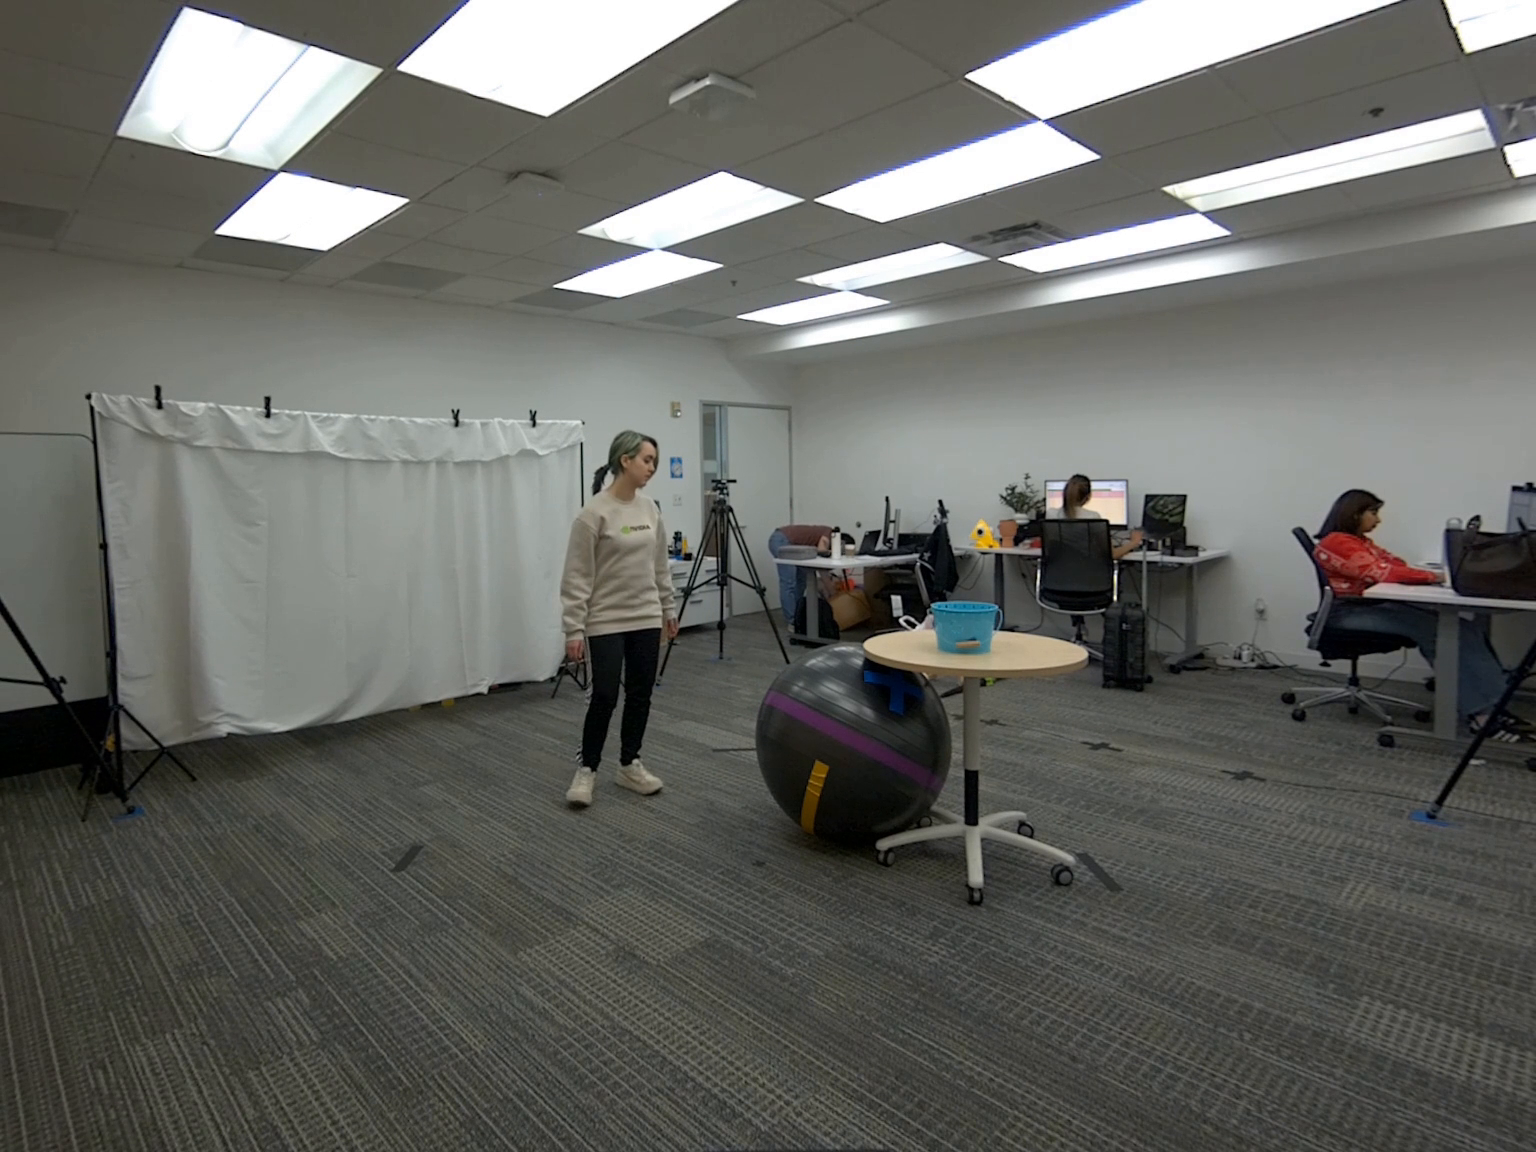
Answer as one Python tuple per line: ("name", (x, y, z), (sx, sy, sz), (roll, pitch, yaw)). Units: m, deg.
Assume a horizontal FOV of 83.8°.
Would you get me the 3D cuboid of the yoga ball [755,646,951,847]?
("yoga ball", (0.335, 0.648, 3.344), (0.757, 0.755, 0.762), (-1, 5, -2))
